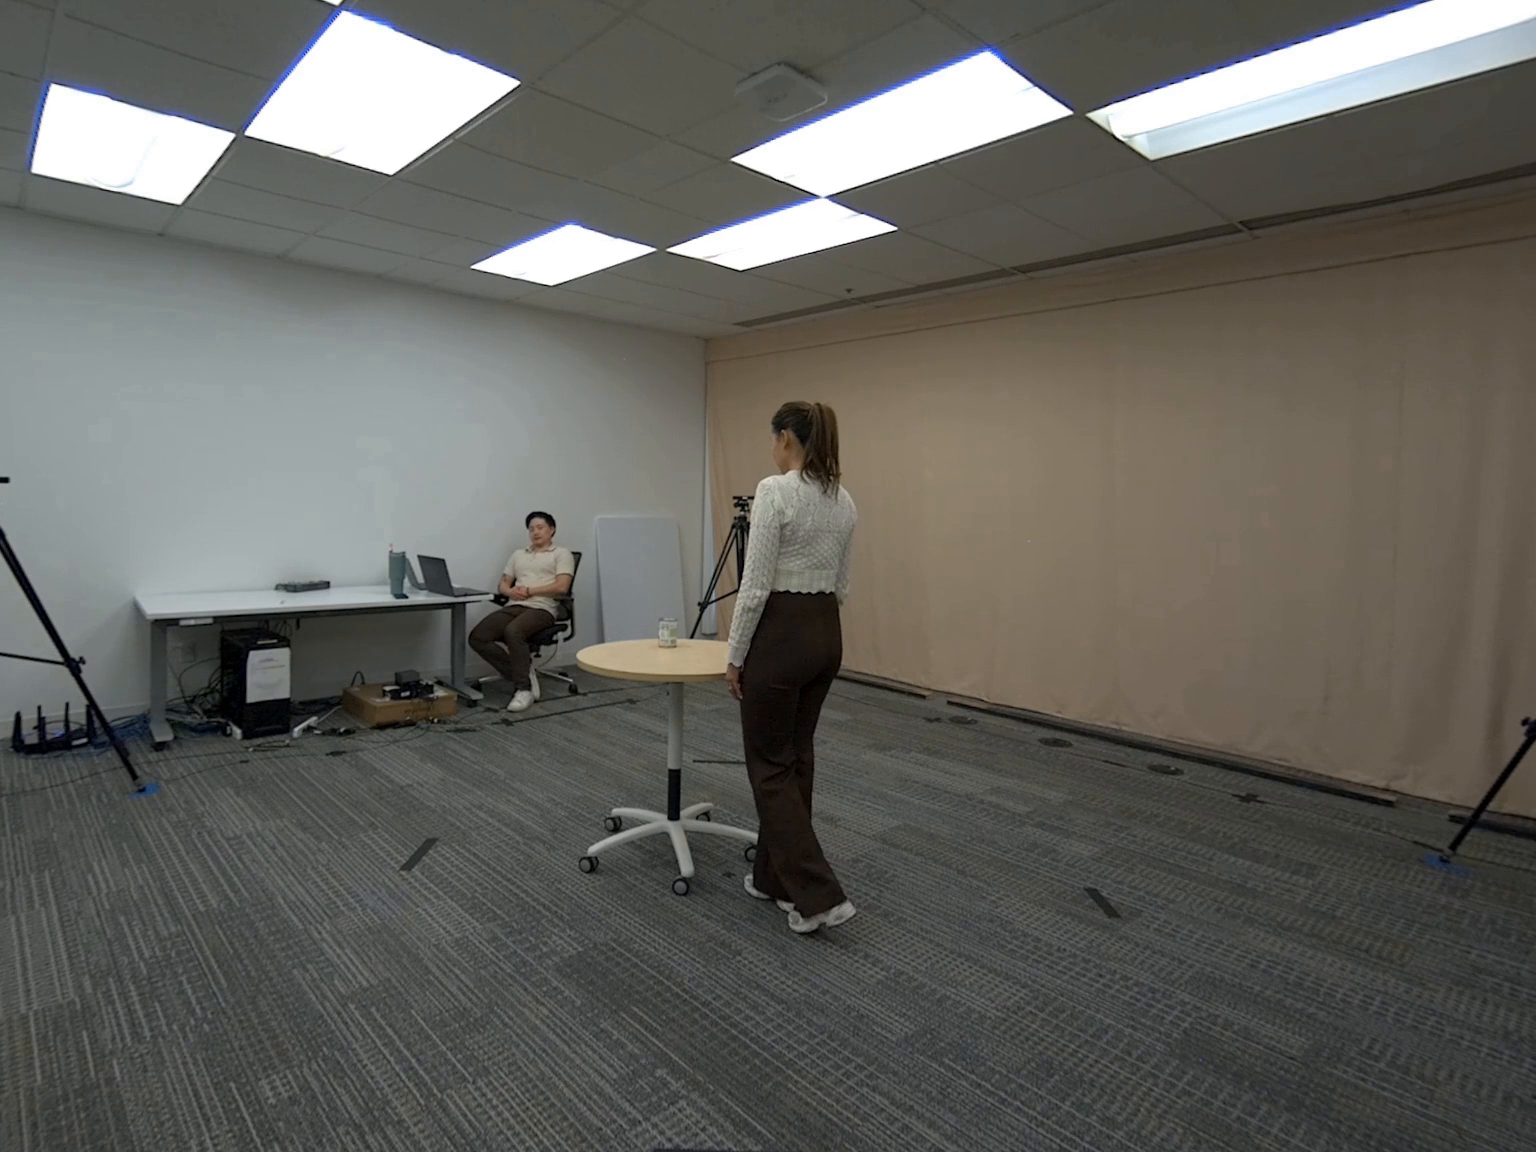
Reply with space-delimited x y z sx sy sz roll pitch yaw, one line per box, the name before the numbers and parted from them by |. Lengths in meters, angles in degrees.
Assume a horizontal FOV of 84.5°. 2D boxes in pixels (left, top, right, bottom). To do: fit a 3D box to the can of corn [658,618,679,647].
can of corn | -0.420 0.234 3.410 0.074 0.111 0.074 0 3 -1
